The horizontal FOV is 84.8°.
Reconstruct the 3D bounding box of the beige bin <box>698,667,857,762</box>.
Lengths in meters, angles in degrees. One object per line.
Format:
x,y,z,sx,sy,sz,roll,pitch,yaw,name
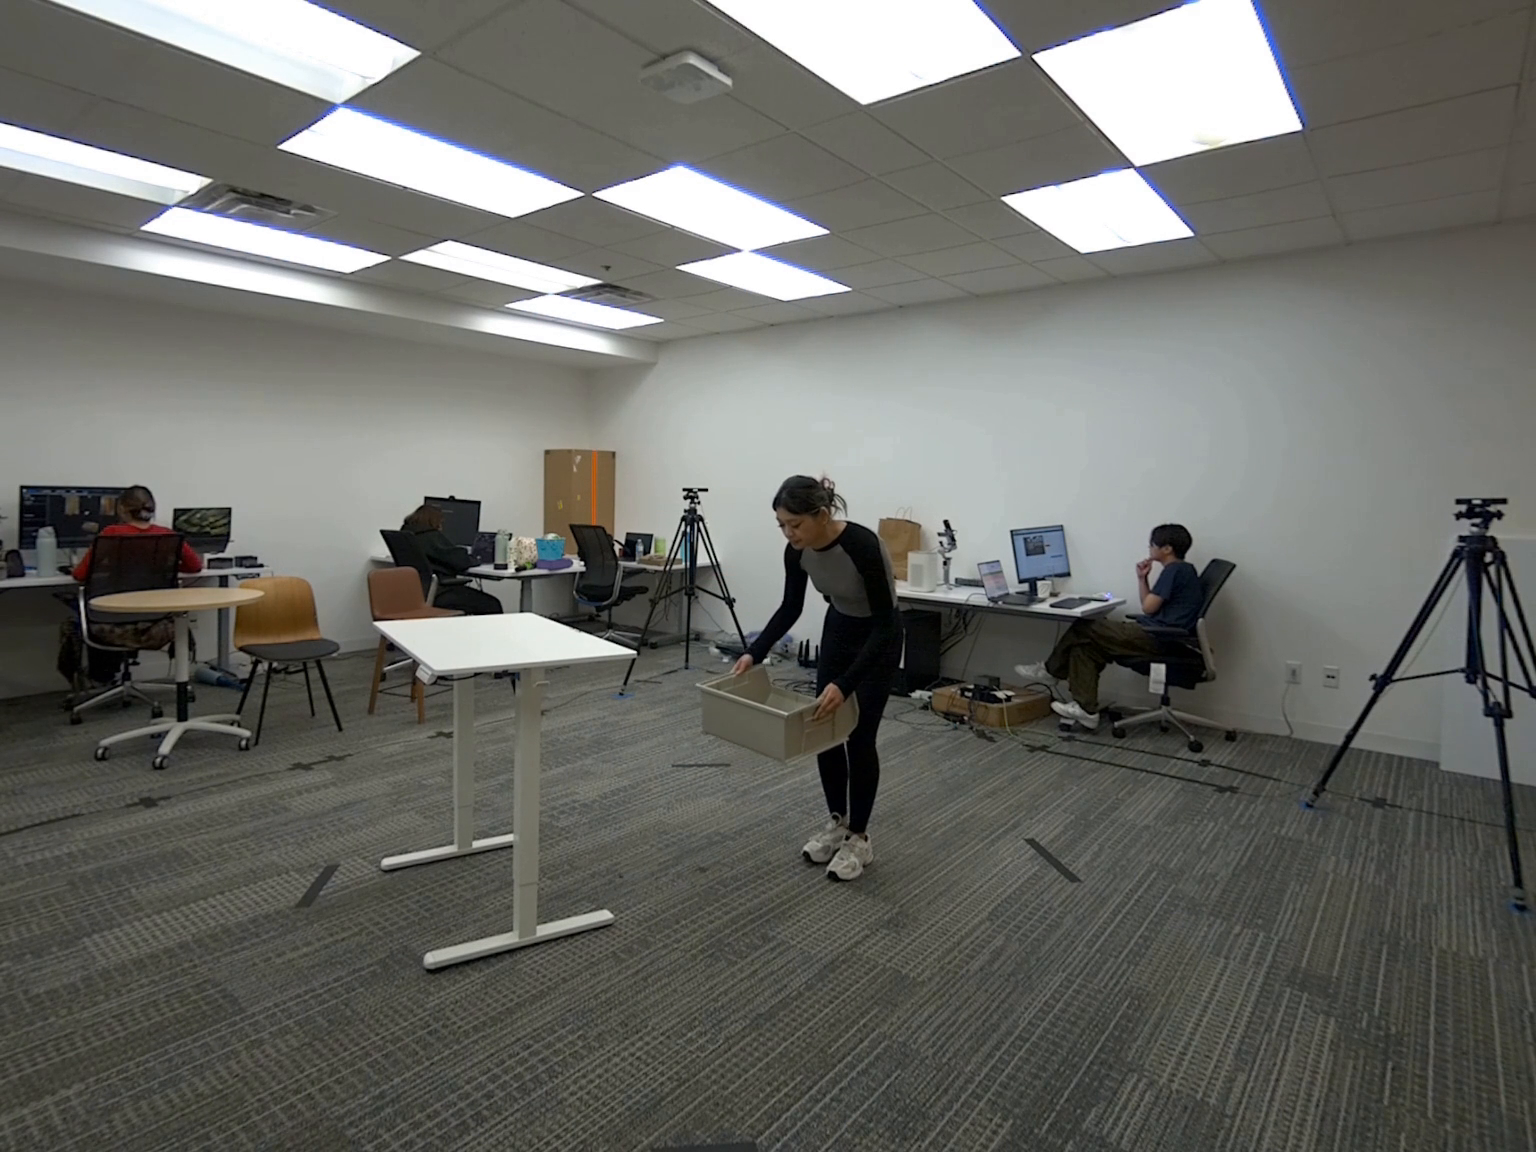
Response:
0.023,0.462,2.919,0.437,0.187,0.368,10,17,42,beige bin
